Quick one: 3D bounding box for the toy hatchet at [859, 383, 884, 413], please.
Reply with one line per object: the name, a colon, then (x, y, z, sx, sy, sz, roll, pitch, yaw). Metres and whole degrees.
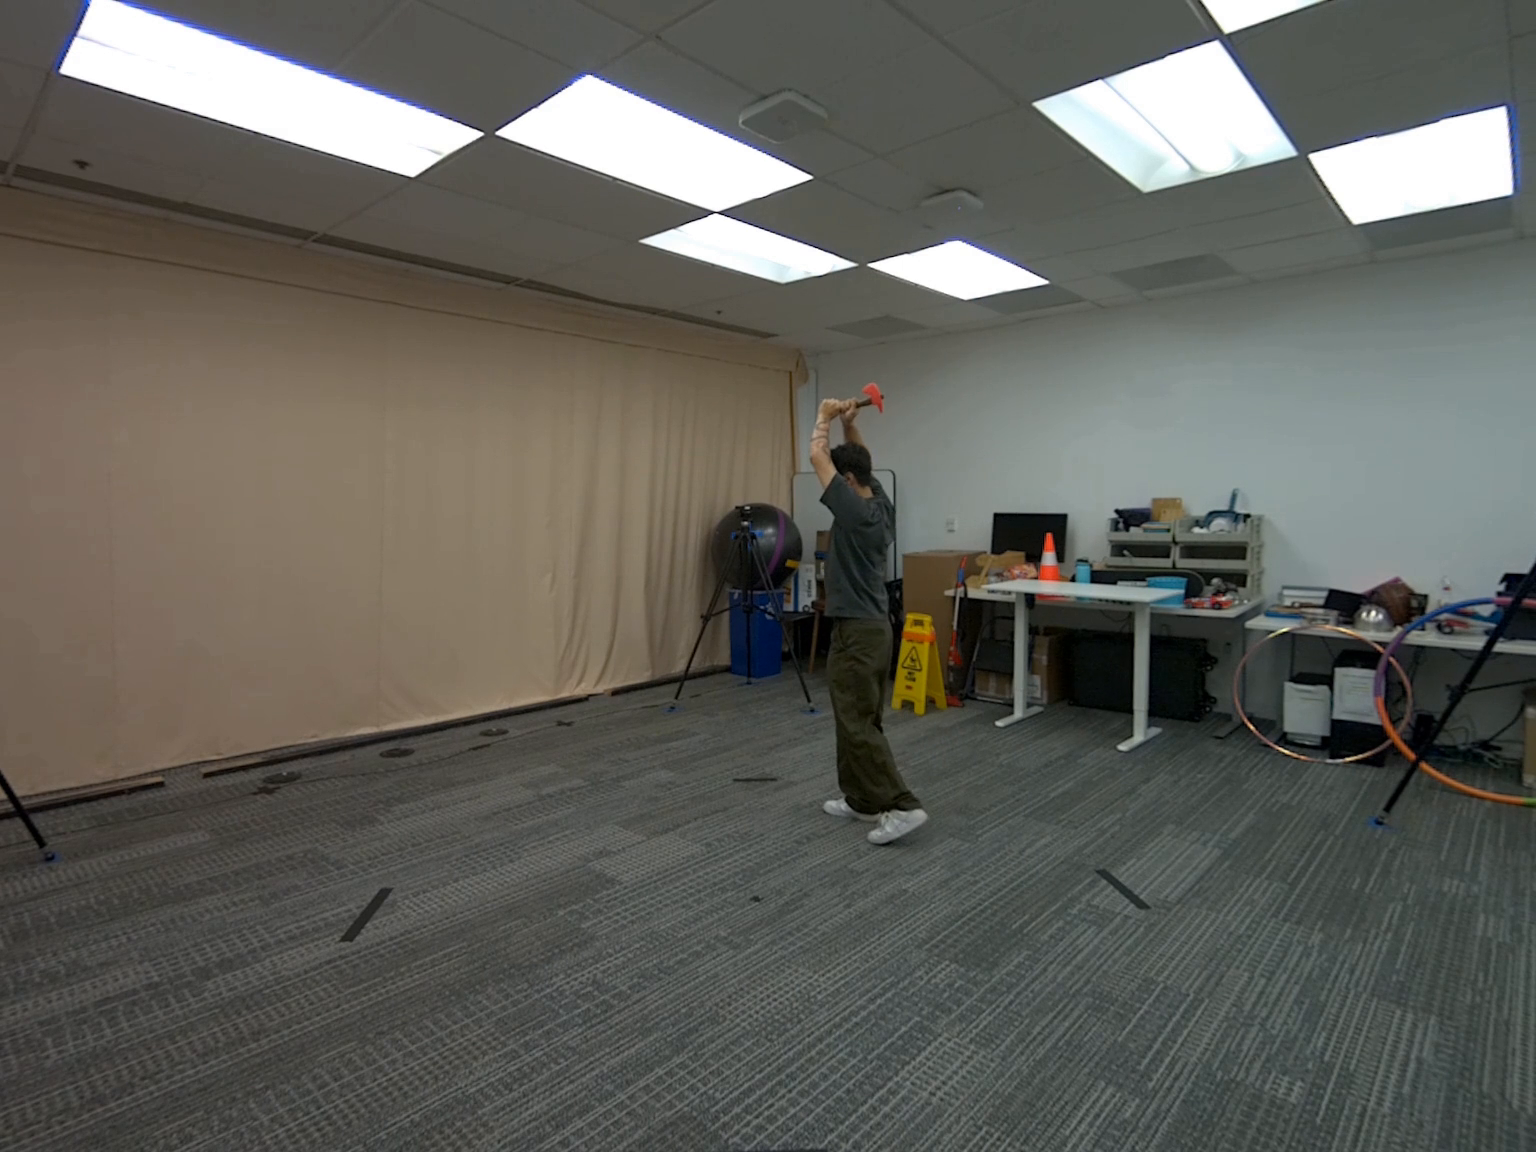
toy hatchet: (0.362, -0.771, 3.630, 0.276, 0.129, 0.029, 9, 26, 18)
